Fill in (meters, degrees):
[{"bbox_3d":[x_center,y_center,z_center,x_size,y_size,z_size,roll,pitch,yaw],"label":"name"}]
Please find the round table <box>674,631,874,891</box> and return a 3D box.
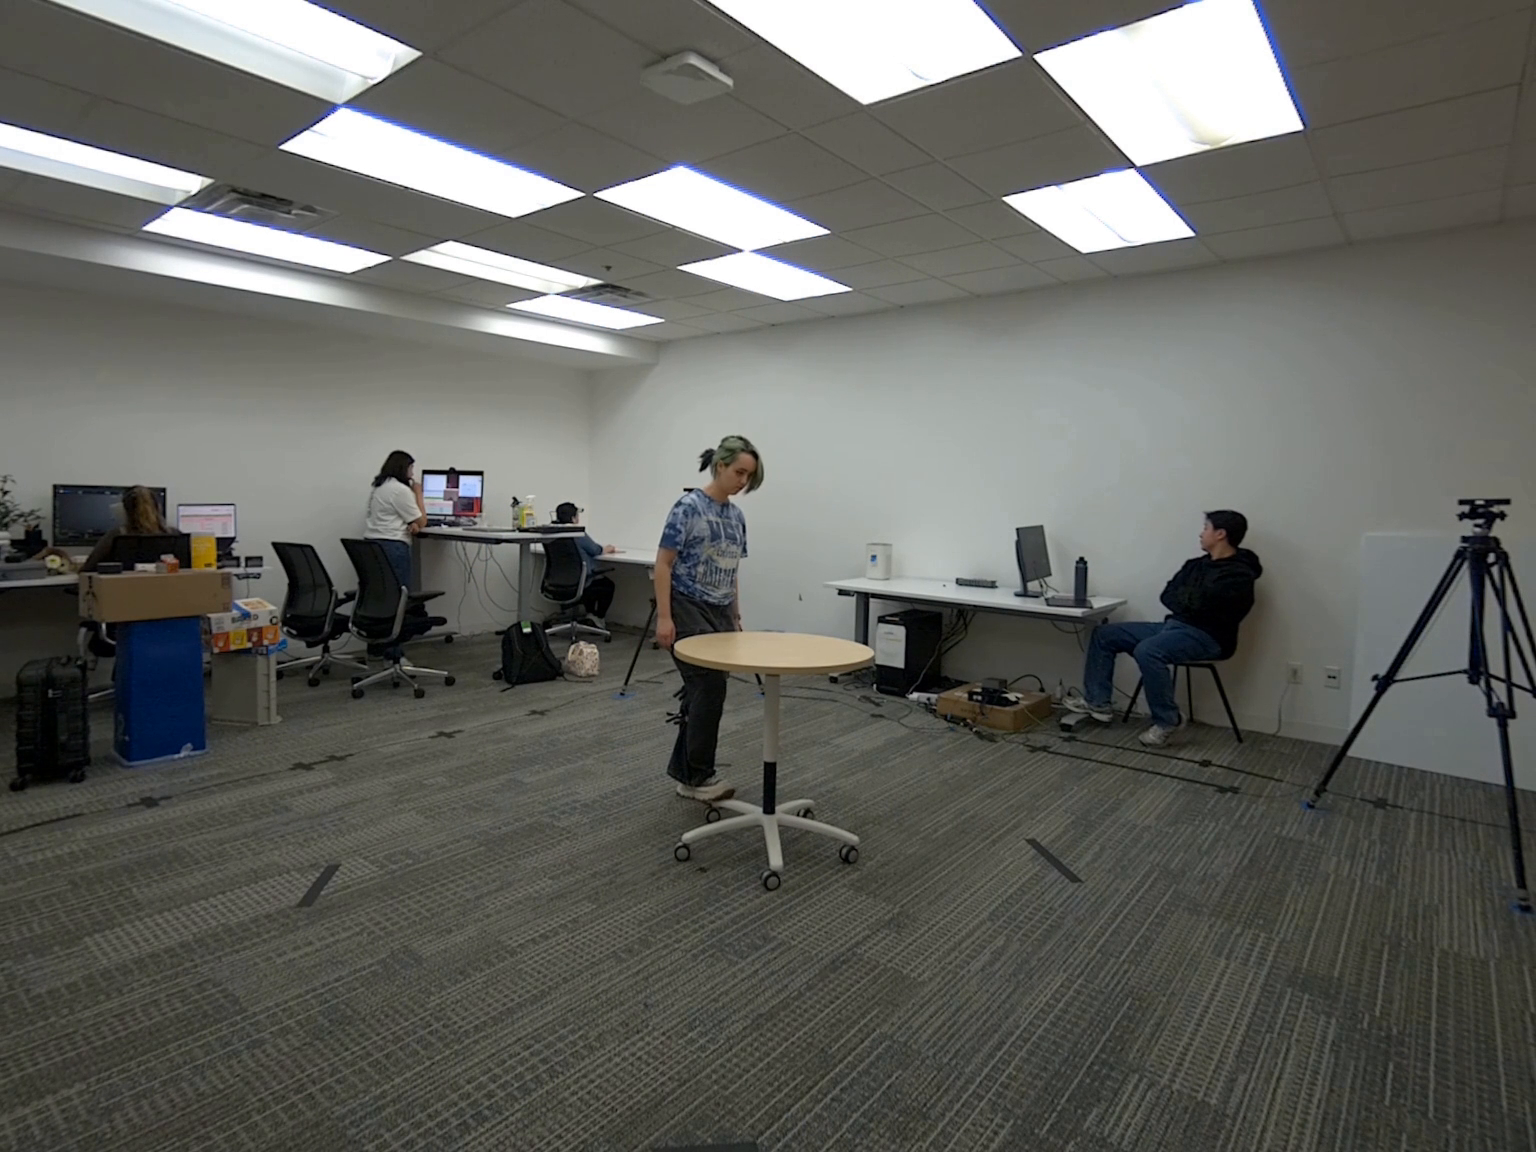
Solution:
[{"bbox_3d":[-0.002,0.667,3.289,0.763,0.791,0.768,1,4,-2],"label":"round table"}]
